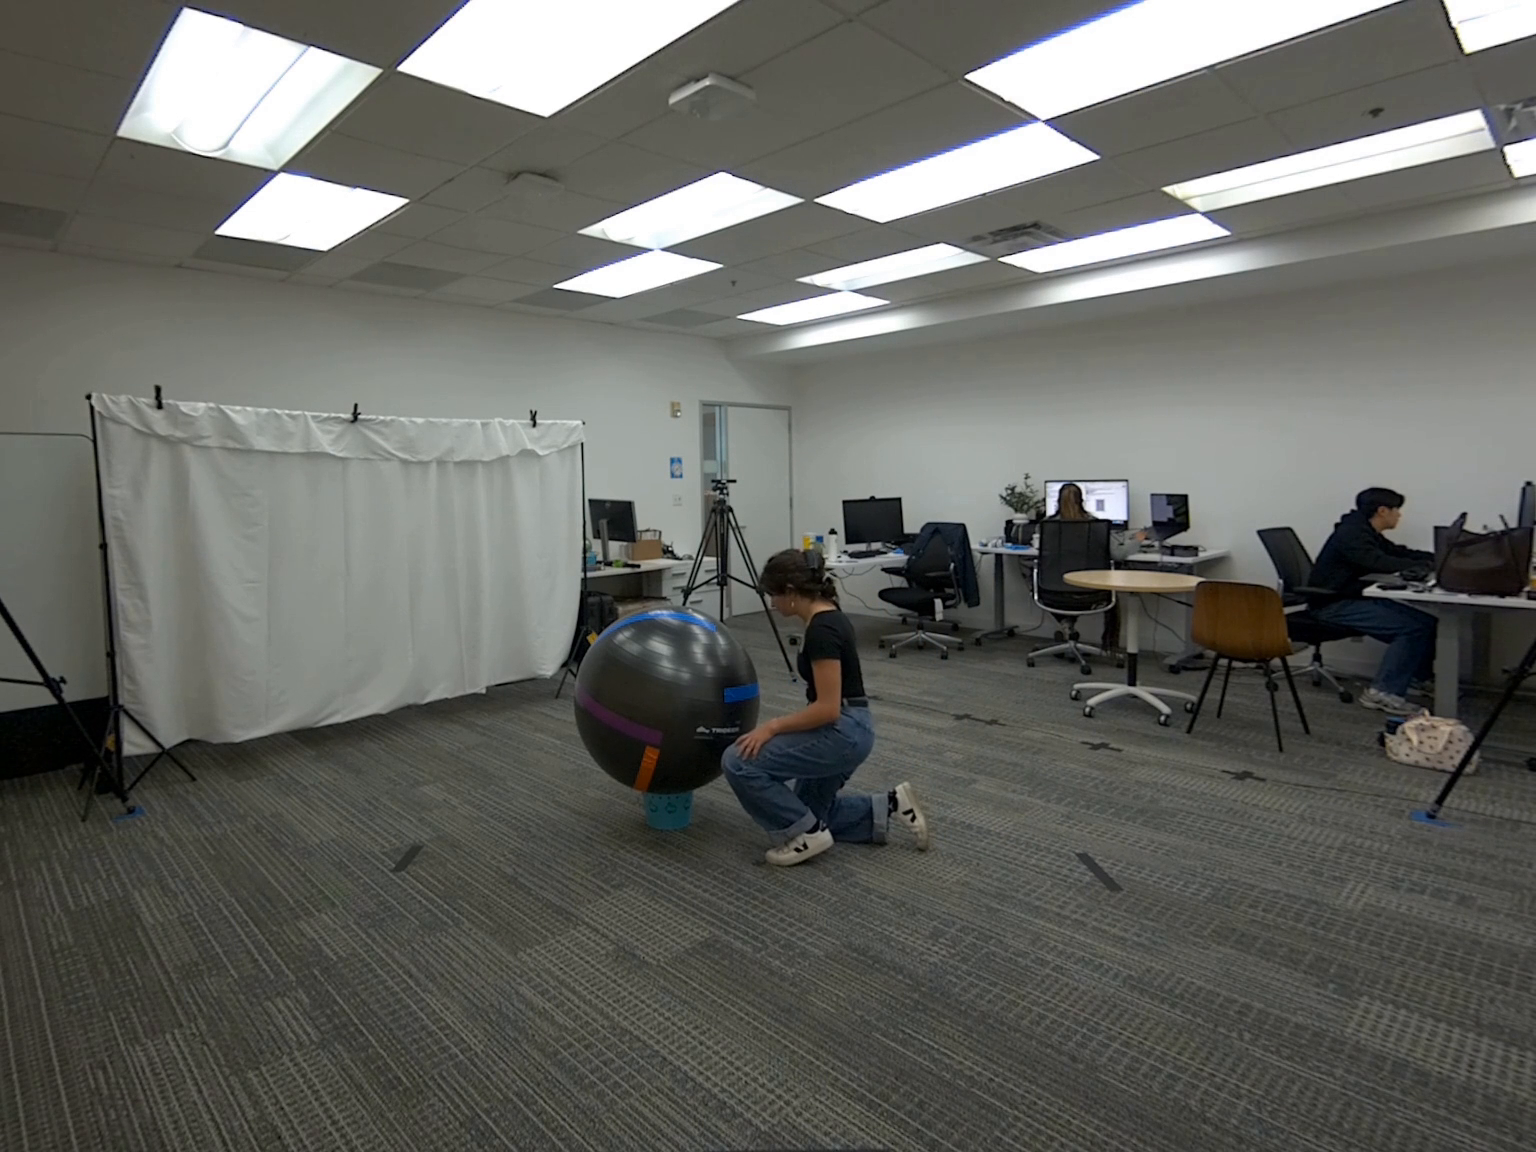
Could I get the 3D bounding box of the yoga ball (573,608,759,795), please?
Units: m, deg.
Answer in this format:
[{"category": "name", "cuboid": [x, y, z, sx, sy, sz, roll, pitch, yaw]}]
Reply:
[{"category": "yoga ball", "cuboid": [-0.412, 0.502, 3.497, 0.757, 0.755, 0.762, -1, 5, -2]}]
